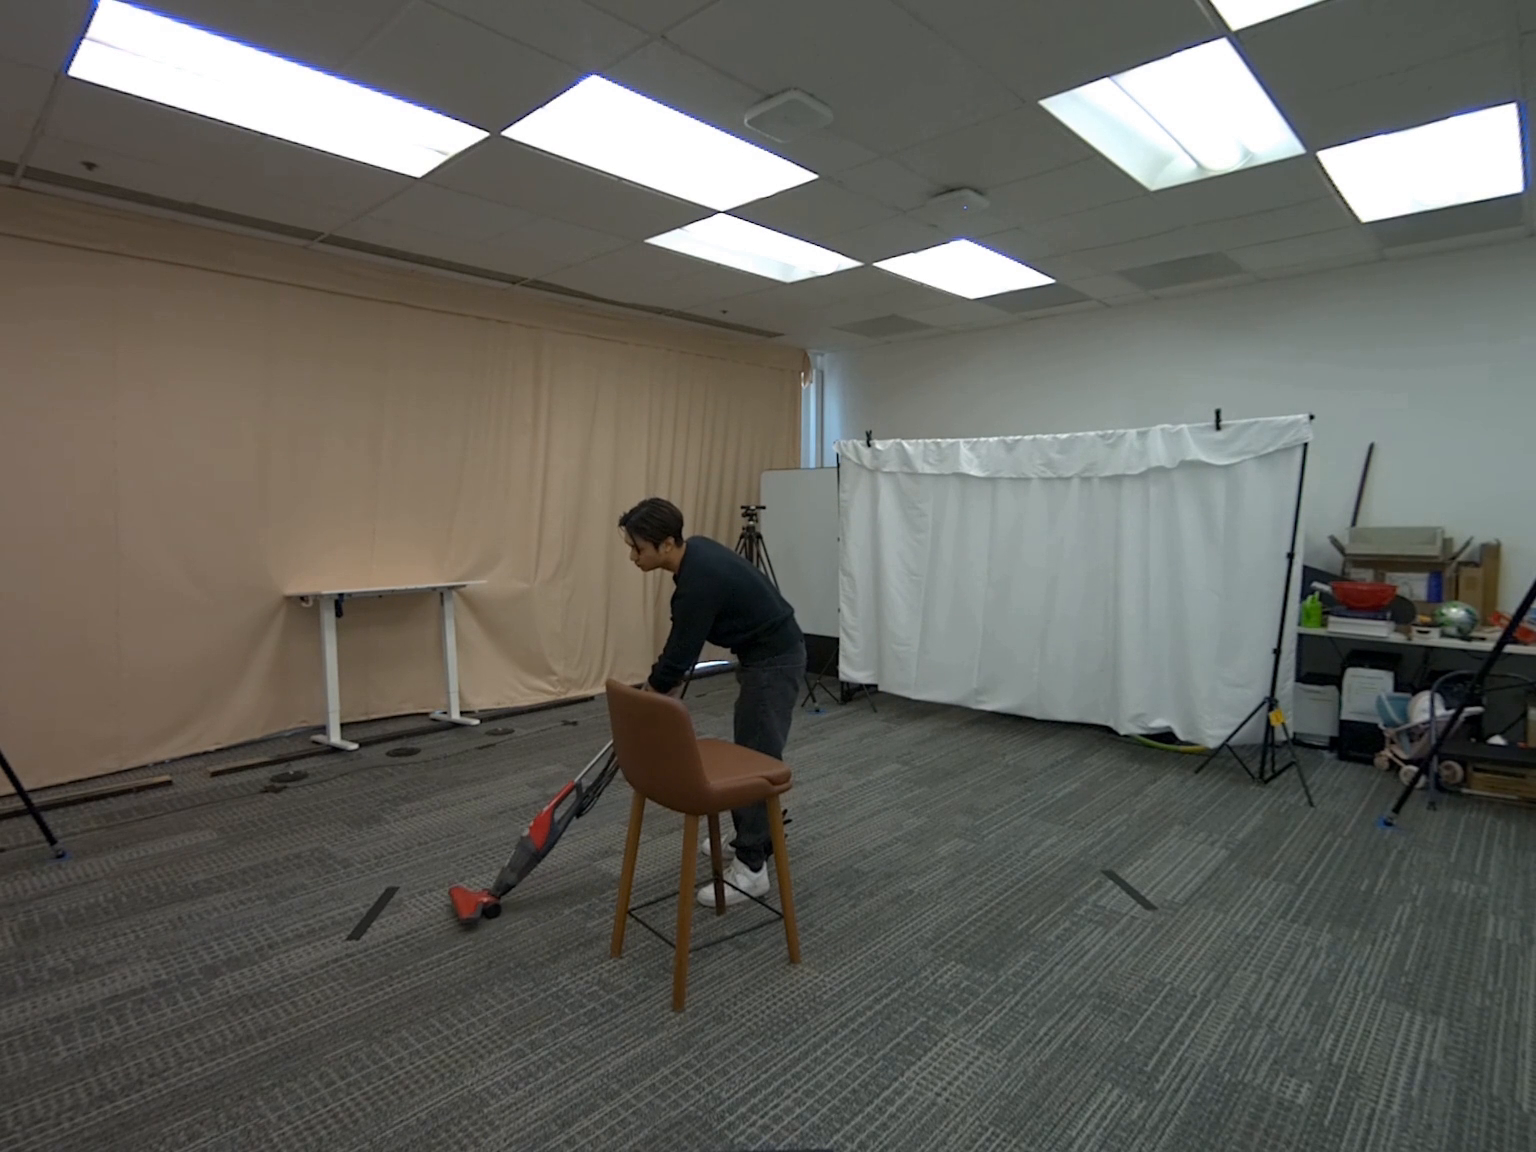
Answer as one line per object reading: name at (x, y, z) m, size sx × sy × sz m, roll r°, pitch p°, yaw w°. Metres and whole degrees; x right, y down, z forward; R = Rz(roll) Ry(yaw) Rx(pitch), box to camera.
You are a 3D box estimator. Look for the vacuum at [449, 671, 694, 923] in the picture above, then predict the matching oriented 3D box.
vacuum at (-0.677, 0.783, 3.060) m, size 1.044 × 0.141 × 0.260 m, roll -47°, pitch 23°, yaw -19°
